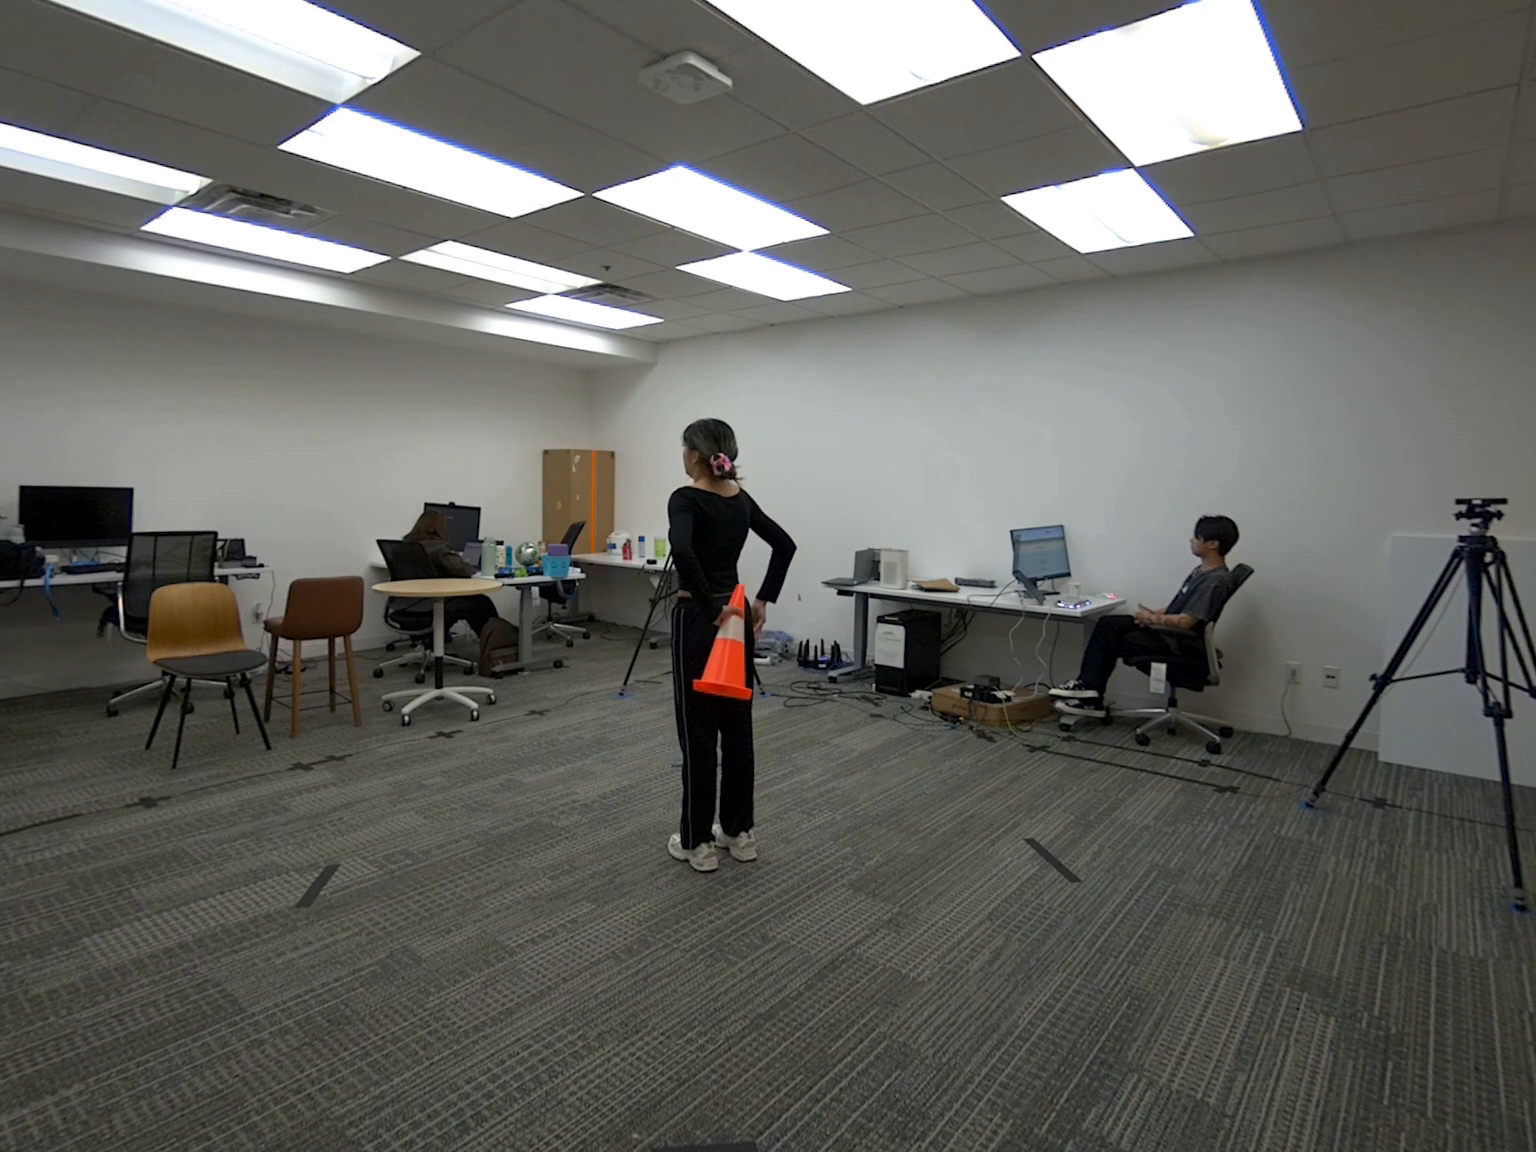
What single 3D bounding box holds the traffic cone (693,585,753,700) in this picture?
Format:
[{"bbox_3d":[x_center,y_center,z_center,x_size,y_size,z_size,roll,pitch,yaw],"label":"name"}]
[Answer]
[{"bbox_3d":[-0.142,0.207,2.953,0.205,0.390,0.200,7,-20,-1],"label":"traffic cone"}]
